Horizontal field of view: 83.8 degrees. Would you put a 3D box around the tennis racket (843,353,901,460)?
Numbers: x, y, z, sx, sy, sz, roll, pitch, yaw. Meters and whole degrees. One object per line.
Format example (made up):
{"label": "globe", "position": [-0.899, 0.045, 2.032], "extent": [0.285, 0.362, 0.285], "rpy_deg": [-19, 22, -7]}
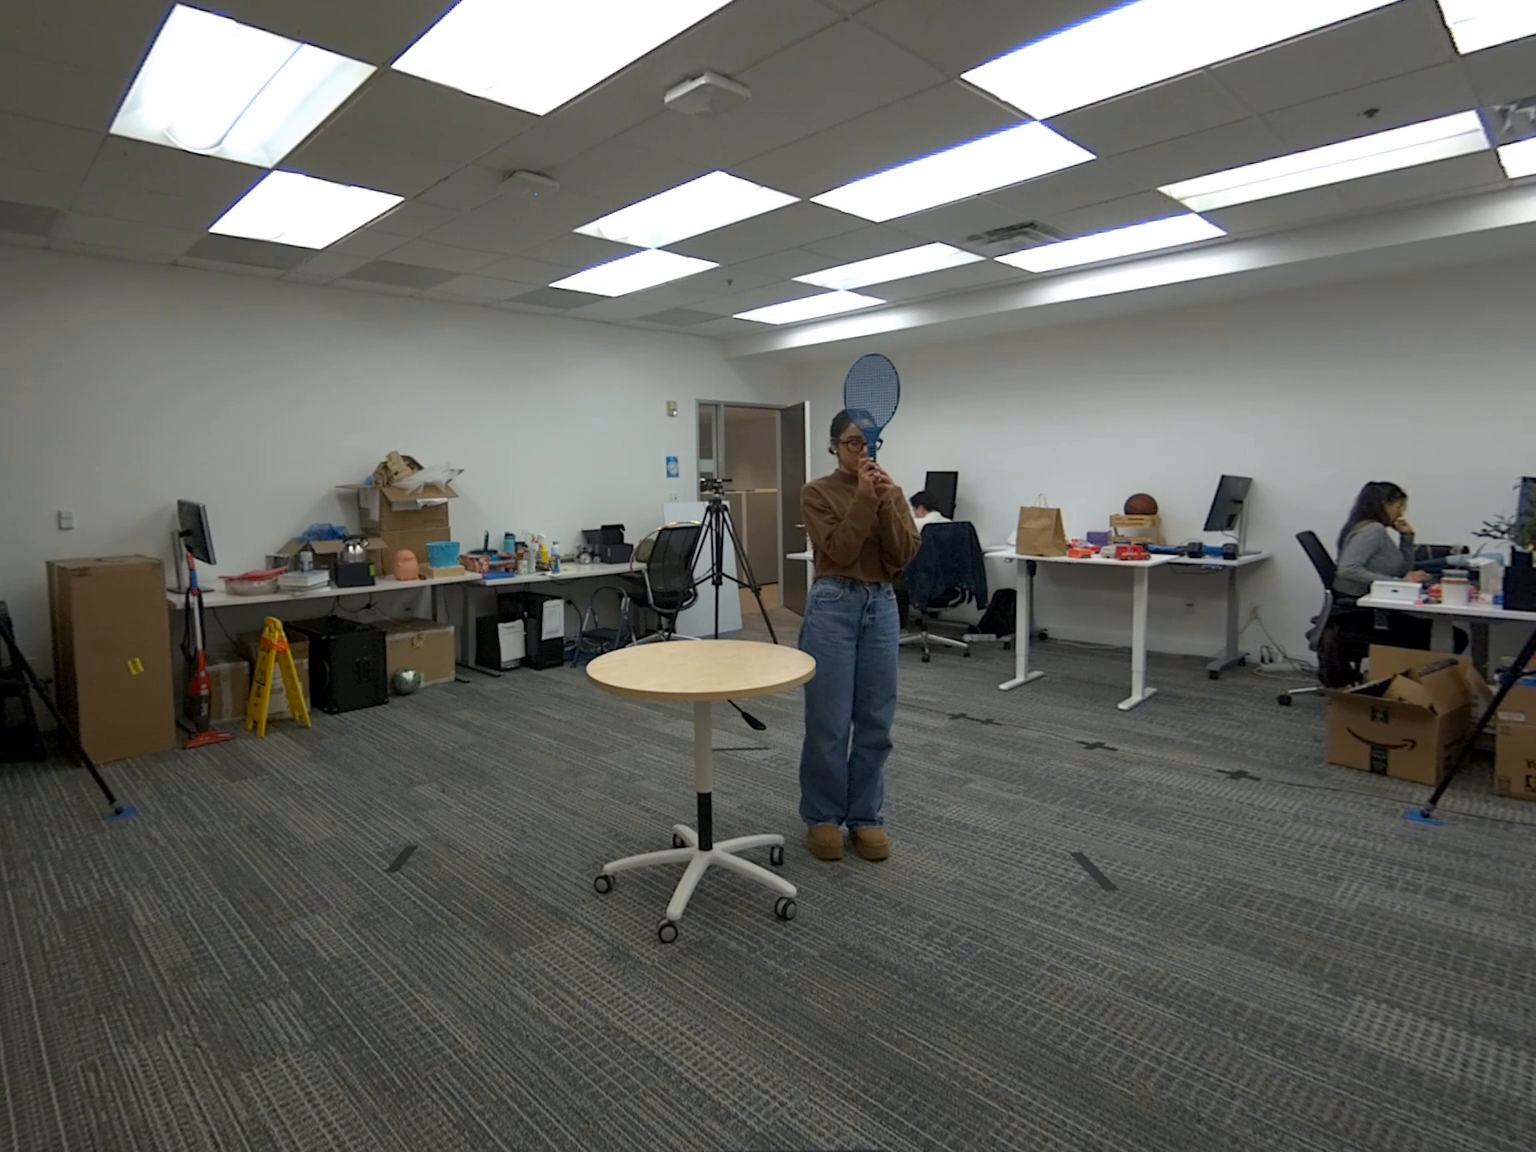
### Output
{"label": "tennis racket", "position": [0.355, -0.553, 2.958], "extent": [0.211, 0.426, 0.033], "rpy_deg": [-7, 17, -17]}
